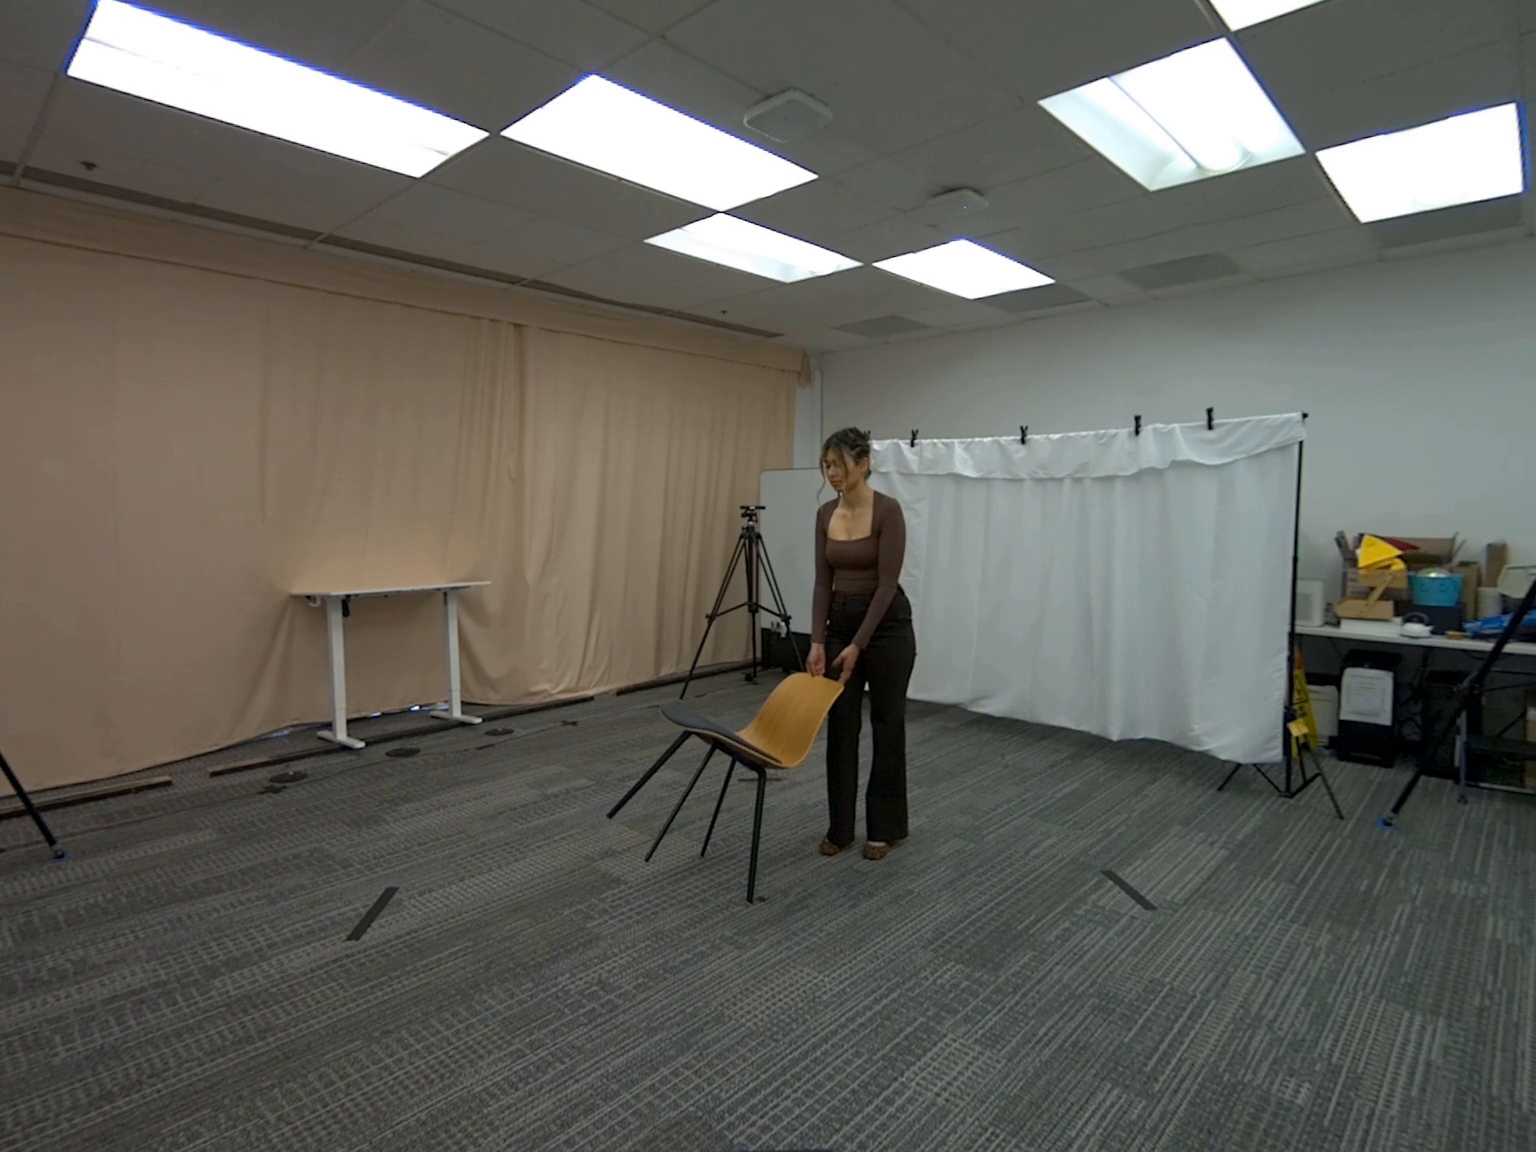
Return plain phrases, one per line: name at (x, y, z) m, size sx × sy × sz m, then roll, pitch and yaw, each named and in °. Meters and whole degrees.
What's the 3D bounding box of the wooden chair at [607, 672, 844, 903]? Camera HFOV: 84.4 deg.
wooden chair at (-0.151, 0.646, 3.118) m, size 0.510 × 0.877 × 0.490 m, roll 35°, pitch -11°, yaw -23°
